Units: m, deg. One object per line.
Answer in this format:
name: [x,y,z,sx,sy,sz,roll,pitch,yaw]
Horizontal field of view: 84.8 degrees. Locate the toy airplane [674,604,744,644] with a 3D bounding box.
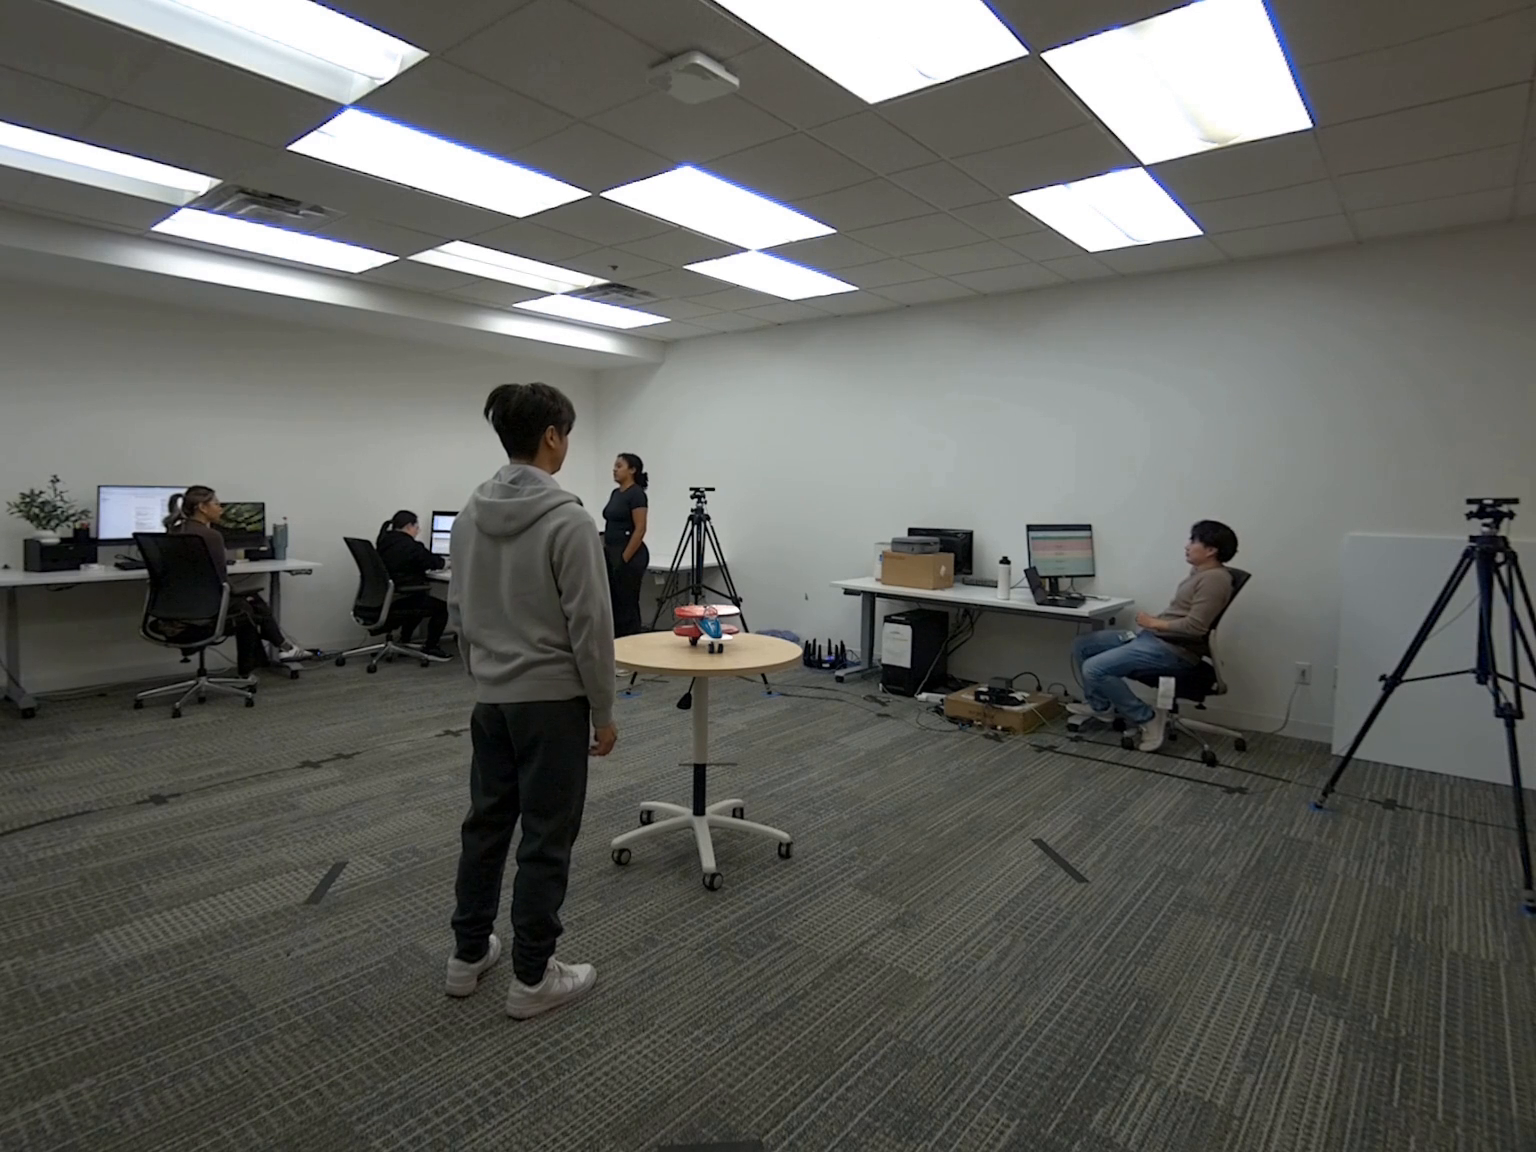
toy airplane: [-0.216,0.194,3.226,0.243,0.156,0.268,-3,6,-43]
